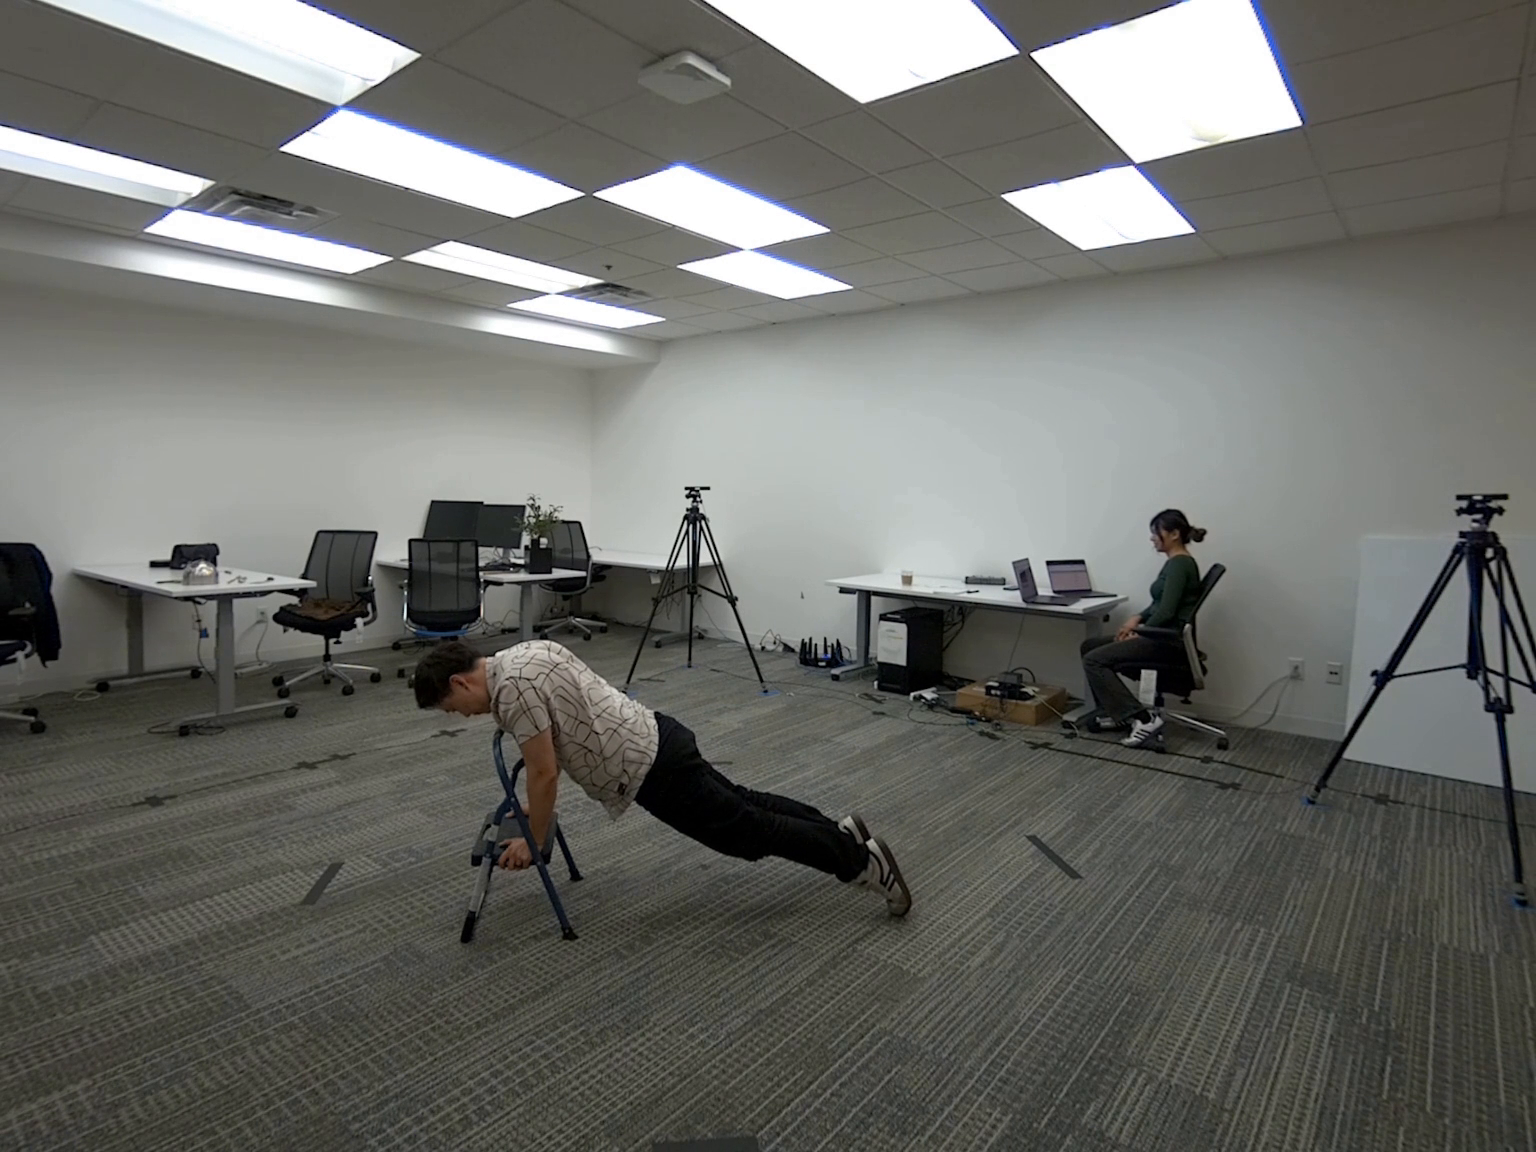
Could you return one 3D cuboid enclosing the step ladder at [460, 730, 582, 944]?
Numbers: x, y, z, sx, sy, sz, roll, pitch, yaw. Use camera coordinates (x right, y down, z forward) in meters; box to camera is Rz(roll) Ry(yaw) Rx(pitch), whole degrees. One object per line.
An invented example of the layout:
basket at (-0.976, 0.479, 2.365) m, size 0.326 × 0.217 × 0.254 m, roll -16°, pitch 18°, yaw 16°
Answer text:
step ladder at (-0.804, 0.794, 2.782) m, size 0.346 × 0.605 × 0.436 m, roll 1°, pitch 3°, yaw -9°
